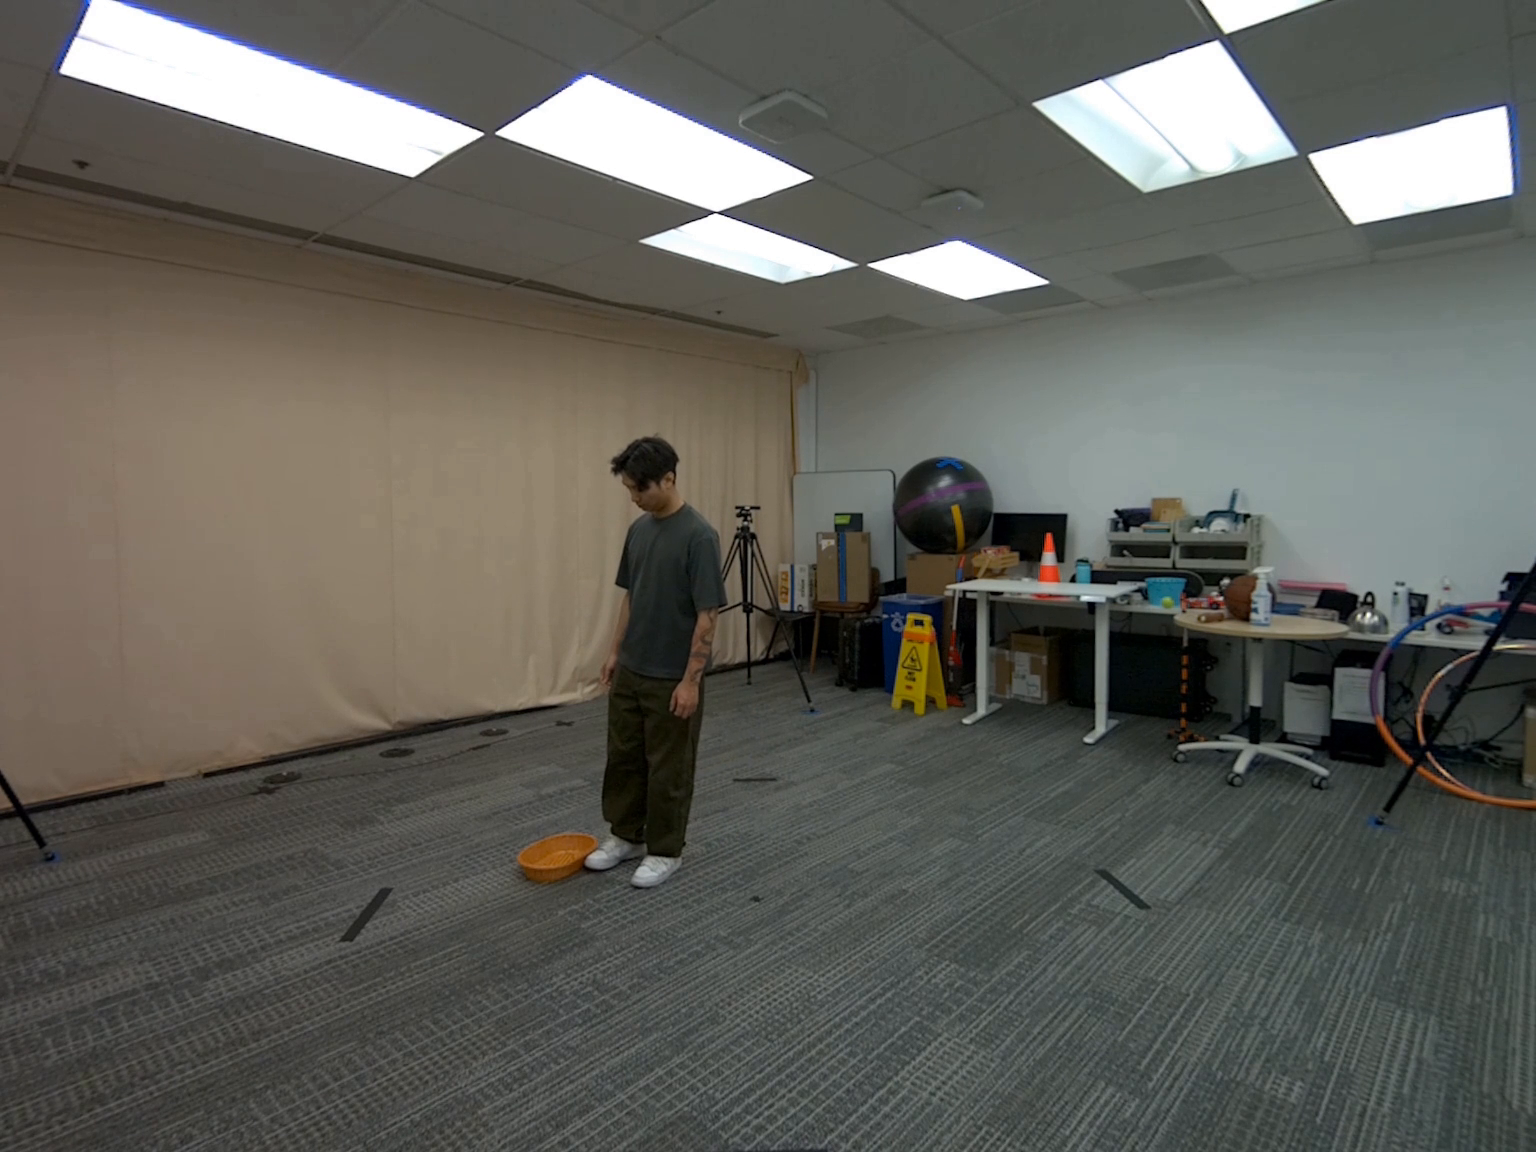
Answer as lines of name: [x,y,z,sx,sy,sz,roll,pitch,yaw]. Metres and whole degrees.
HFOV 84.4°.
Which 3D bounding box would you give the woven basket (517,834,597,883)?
woven basket: [-0.816,1.096,3.260,0.259,0.073,0.341,2,5,29]
